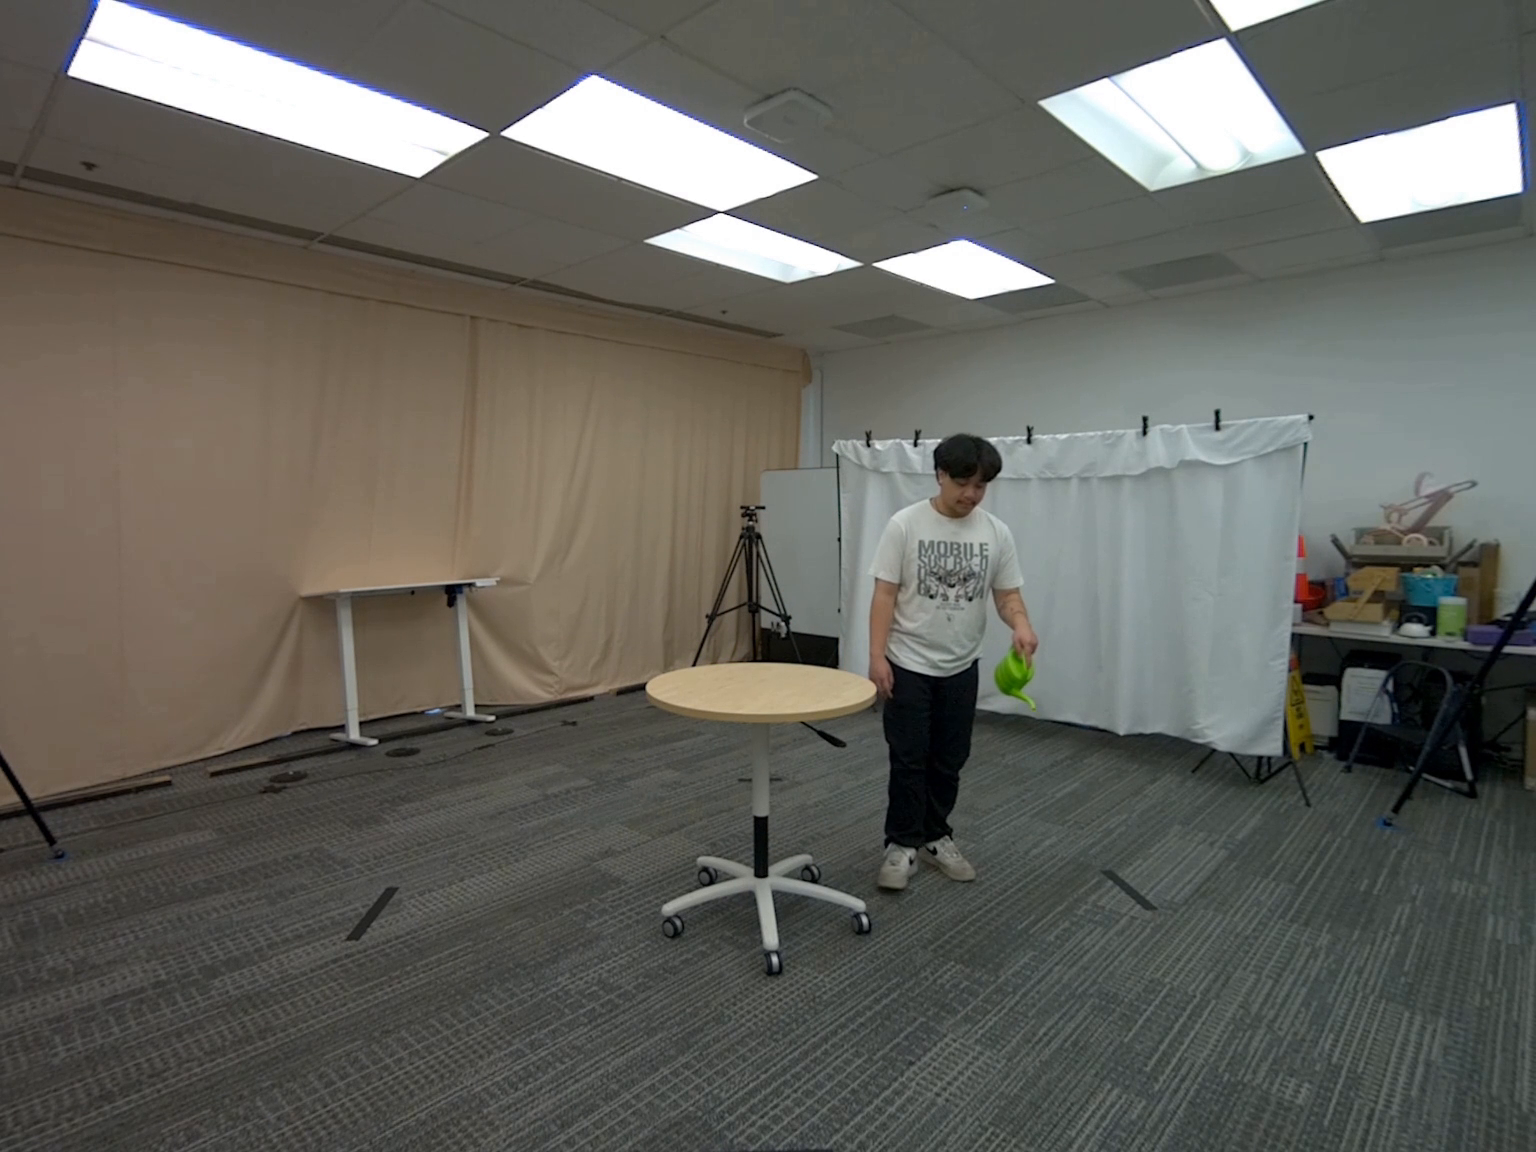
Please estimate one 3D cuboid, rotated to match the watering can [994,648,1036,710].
[{"bbox_3d":[0.857,0.362,2.901,0.098,0.281,0.174,10,-31,3],"label":"watering can"}]
